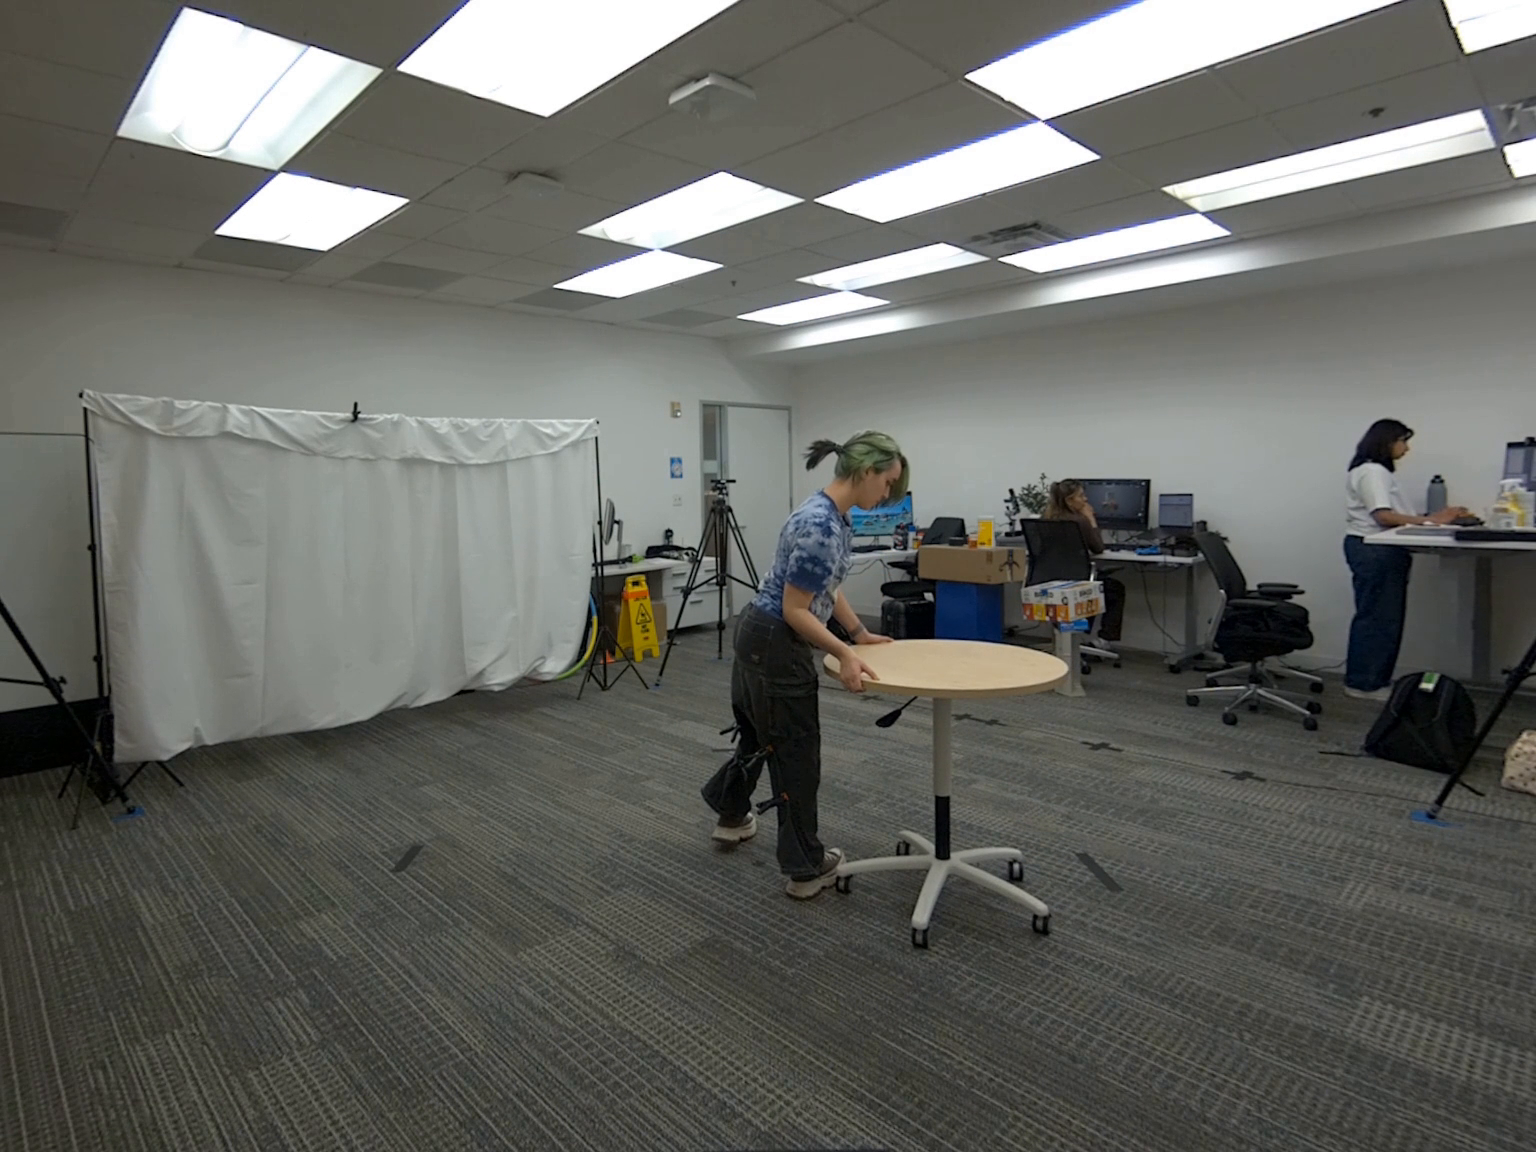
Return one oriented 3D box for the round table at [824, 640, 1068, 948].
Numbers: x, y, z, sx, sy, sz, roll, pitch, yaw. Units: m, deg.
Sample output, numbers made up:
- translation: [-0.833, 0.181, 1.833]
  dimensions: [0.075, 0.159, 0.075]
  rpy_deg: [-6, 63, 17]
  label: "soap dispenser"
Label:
- translation: [0.577, 0.677, 2.789]
  dimensions: [0.763, 0.791, 0.768]
  rpy_deg: [-1, 5, -2]
  label: "round table"
